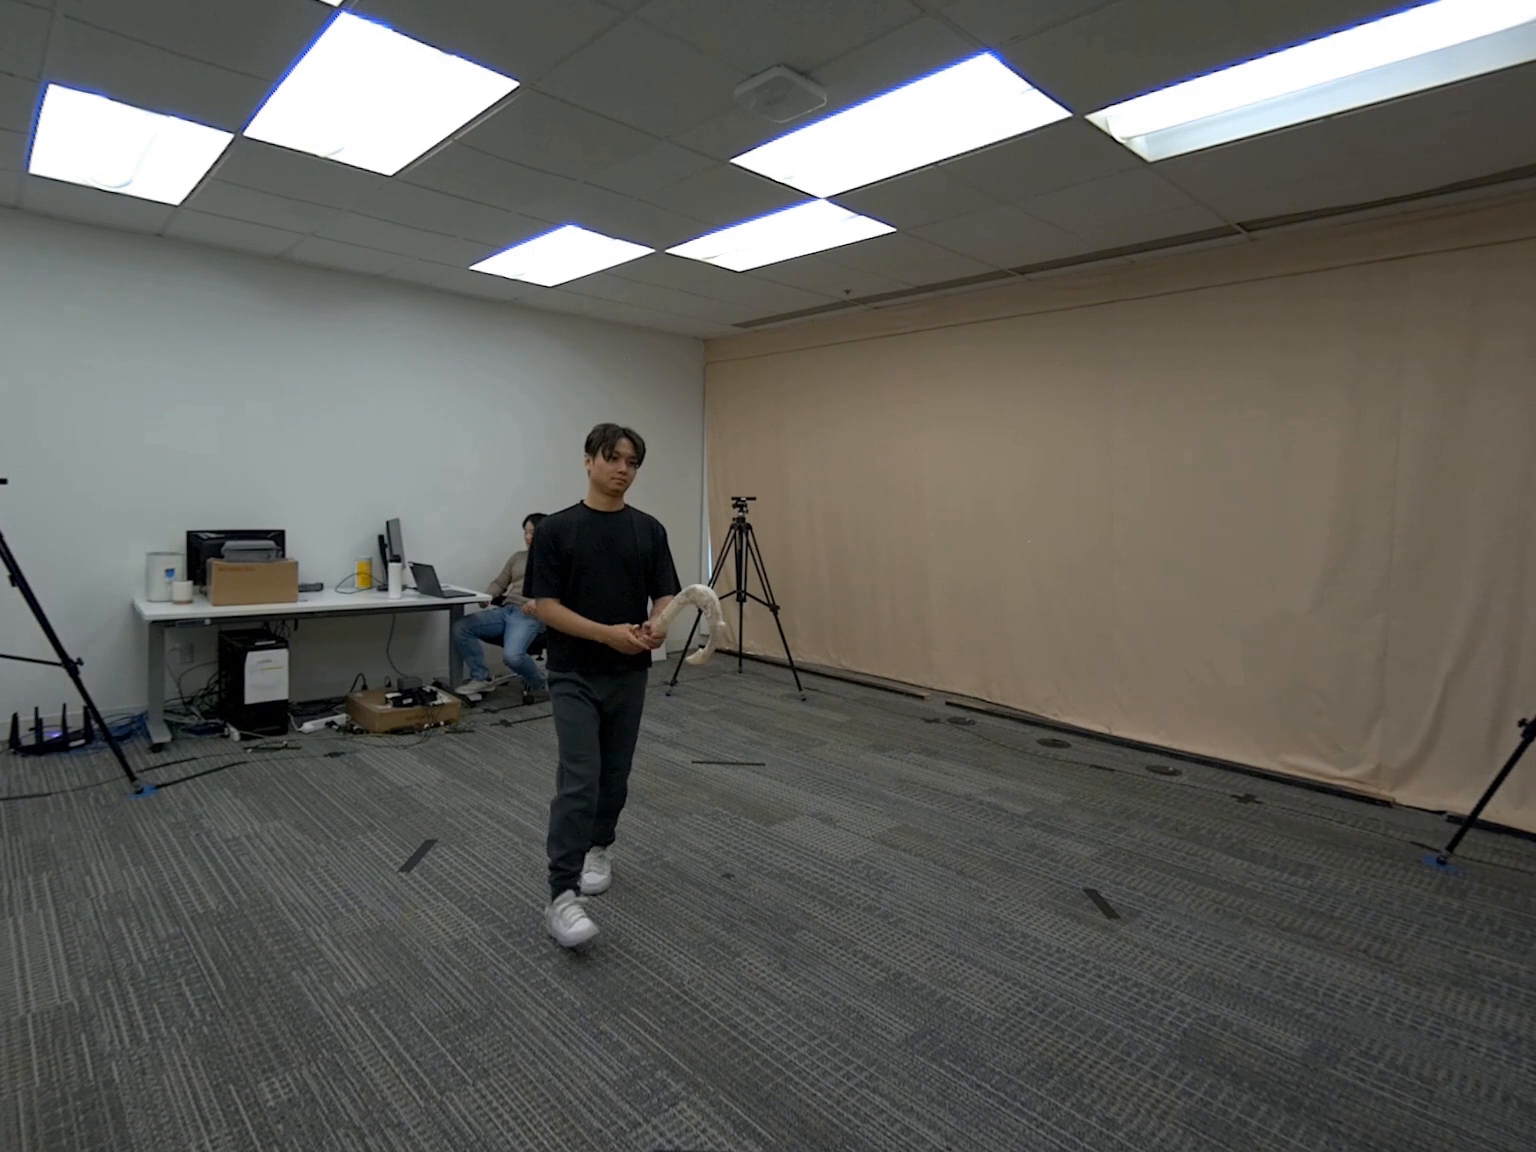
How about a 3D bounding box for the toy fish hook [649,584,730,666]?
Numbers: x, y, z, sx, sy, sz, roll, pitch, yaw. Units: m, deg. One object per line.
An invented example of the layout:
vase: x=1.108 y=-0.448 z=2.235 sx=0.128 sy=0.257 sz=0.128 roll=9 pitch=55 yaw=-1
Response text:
toy fish hook: x=-0.311 y=0.215 z=2.553 sx=0.047 sy=0.228 sz=0.511 roll=3 pitch=-22 yaw=-42
